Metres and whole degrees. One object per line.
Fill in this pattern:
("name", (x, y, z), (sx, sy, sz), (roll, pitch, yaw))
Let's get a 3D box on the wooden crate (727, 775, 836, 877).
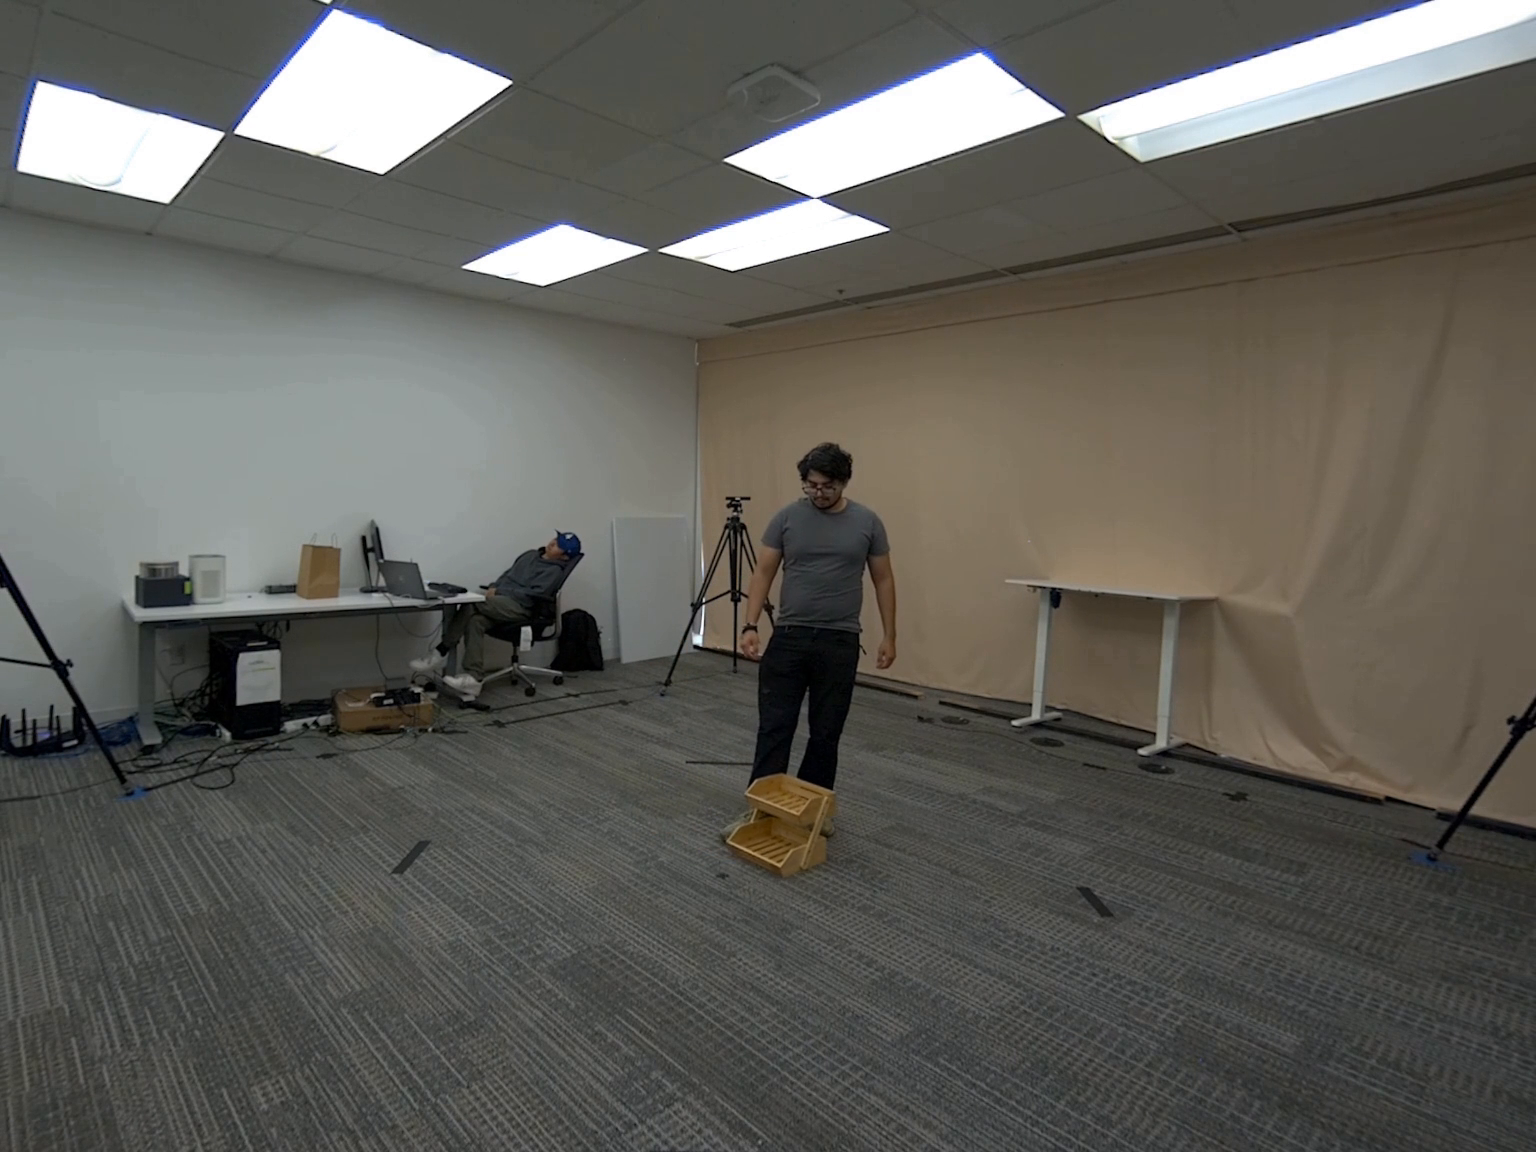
("wooden crate", (0.037, 0.961, 3.281), (0.295, 0.273, 0.333), (-1, 4, -43))
